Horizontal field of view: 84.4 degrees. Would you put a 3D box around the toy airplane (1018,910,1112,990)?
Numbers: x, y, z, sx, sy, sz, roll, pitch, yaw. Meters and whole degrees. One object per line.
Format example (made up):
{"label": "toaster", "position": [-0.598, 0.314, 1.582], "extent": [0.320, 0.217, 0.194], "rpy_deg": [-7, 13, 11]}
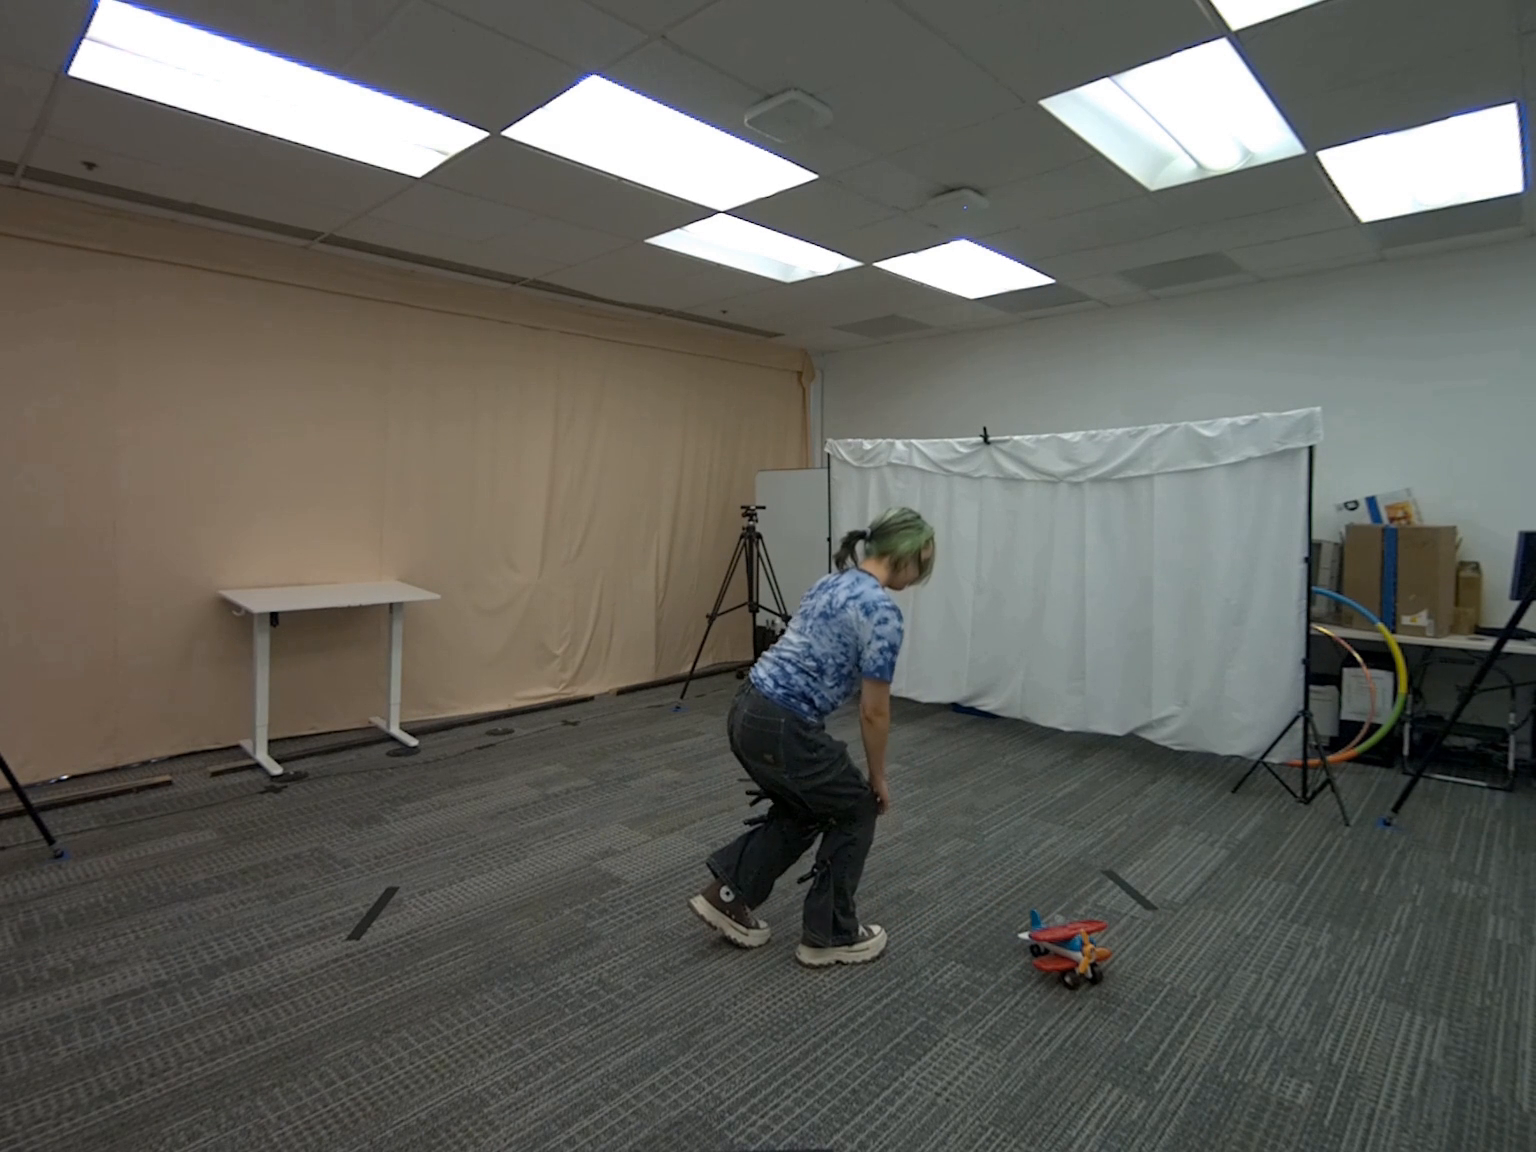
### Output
{"label": "toy airplane", "position": [0.874, 1.112, 2.504], "extent": [0.268, 0.156, 0.243], "rpy_deg": [5, 7, 41]}
